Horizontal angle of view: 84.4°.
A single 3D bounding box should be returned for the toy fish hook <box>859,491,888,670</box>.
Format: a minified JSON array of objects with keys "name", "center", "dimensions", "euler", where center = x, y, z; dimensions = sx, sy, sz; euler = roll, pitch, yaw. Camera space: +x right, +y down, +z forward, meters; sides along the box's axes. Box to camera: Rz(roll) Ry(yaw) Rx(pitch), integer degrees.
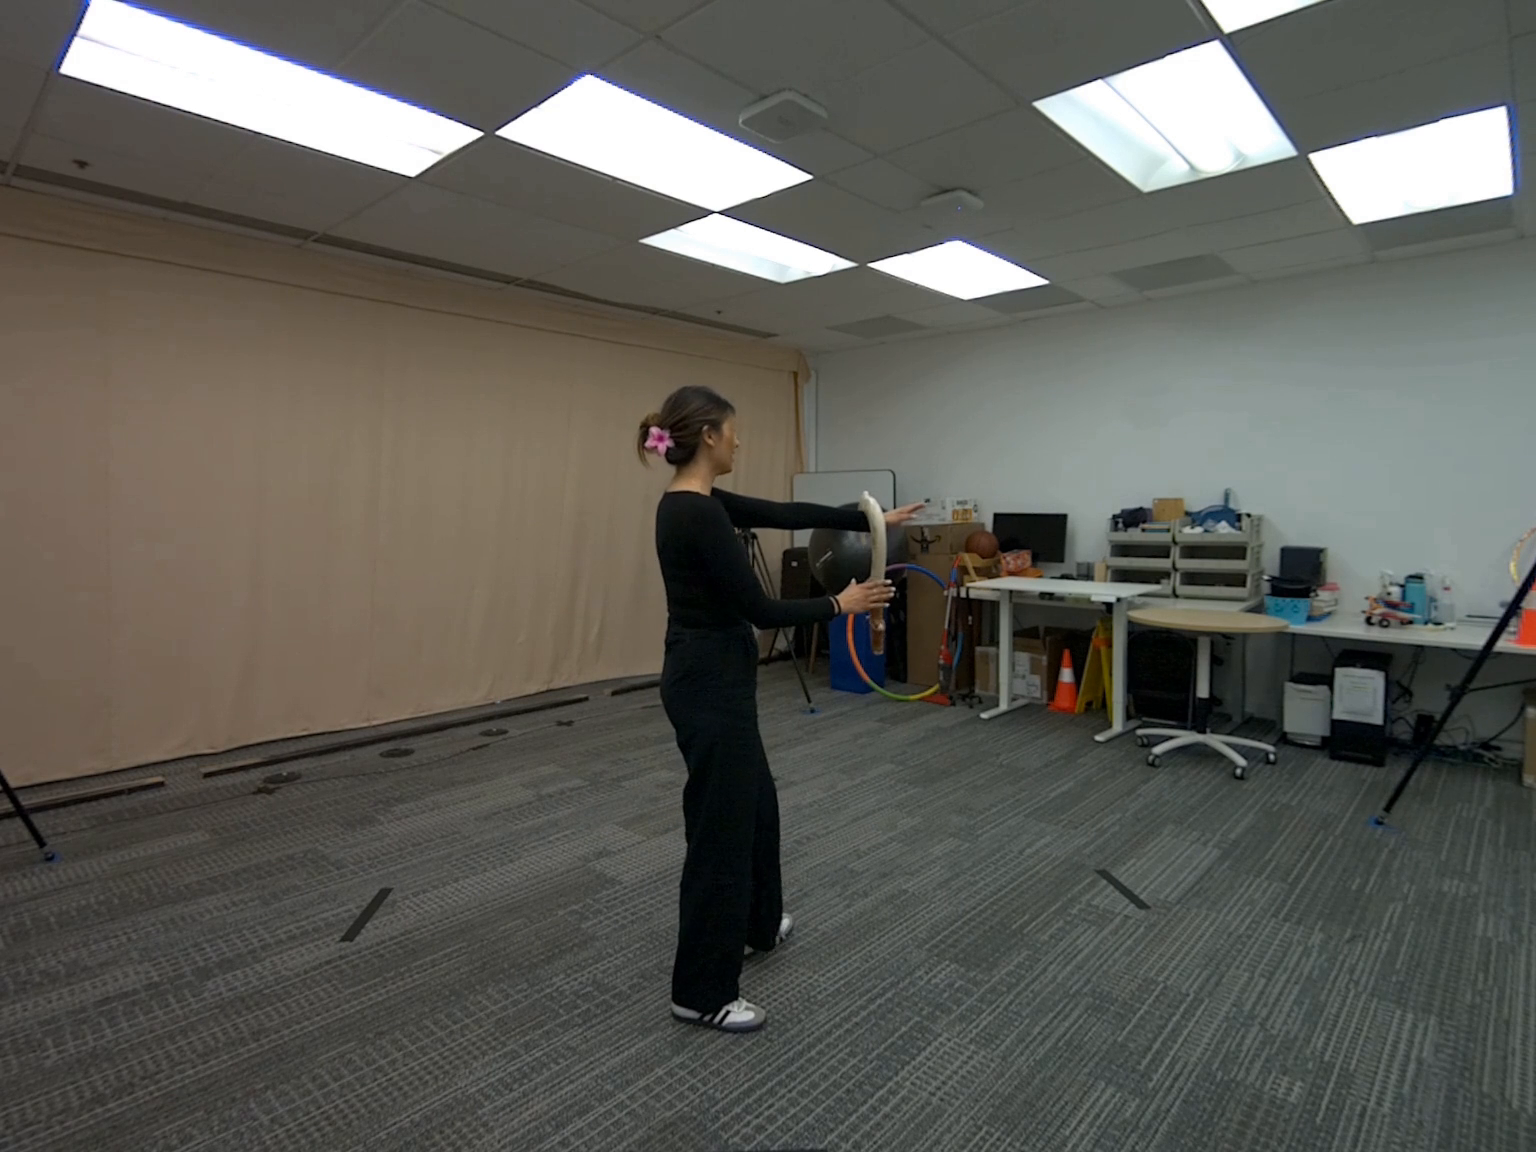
[{"name":"toy fish hook","center":[0.320,-0.007,2.544],"dimensions":[0.048,0.499,0.229],"euler":[-7,22,-5]}]
